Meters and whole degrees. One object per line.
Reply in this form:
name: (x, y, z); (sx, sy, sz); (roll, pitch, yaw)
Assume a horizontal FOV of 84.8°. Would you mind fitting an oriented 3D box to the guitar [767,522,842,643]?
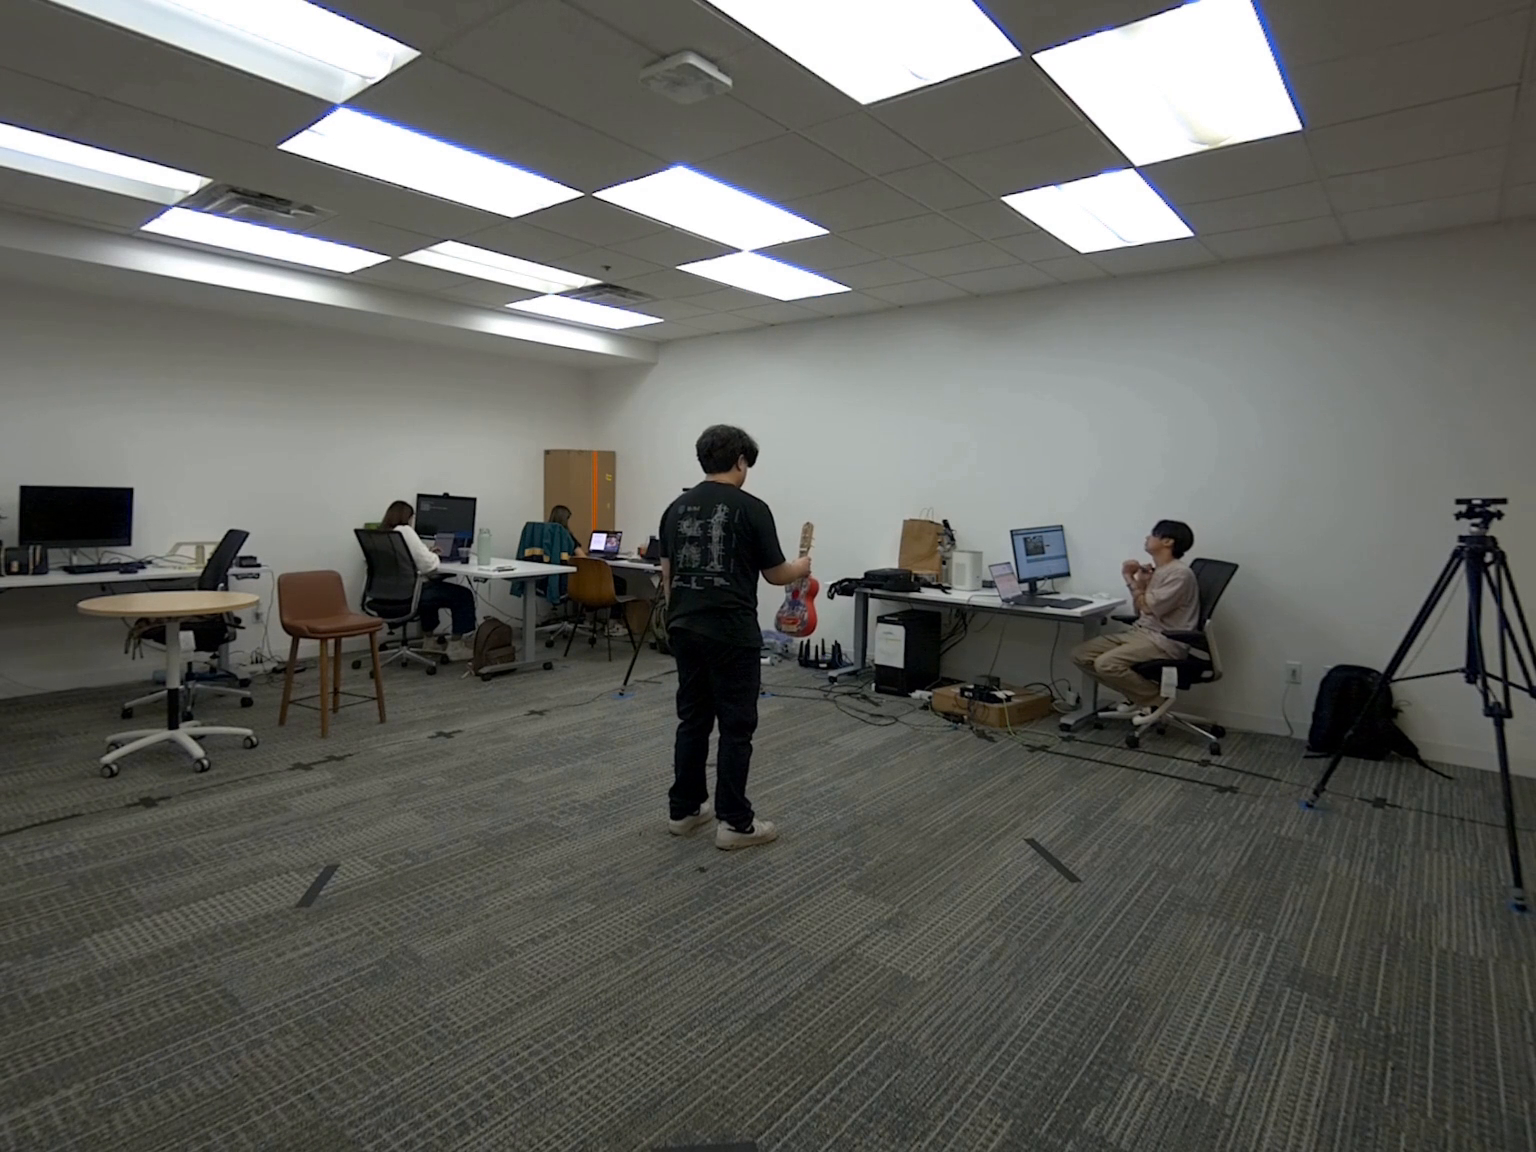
guitar: (0.154, 0.020, 3.638); (0.068, 0.500, 0.200); (23, -10, -40)
